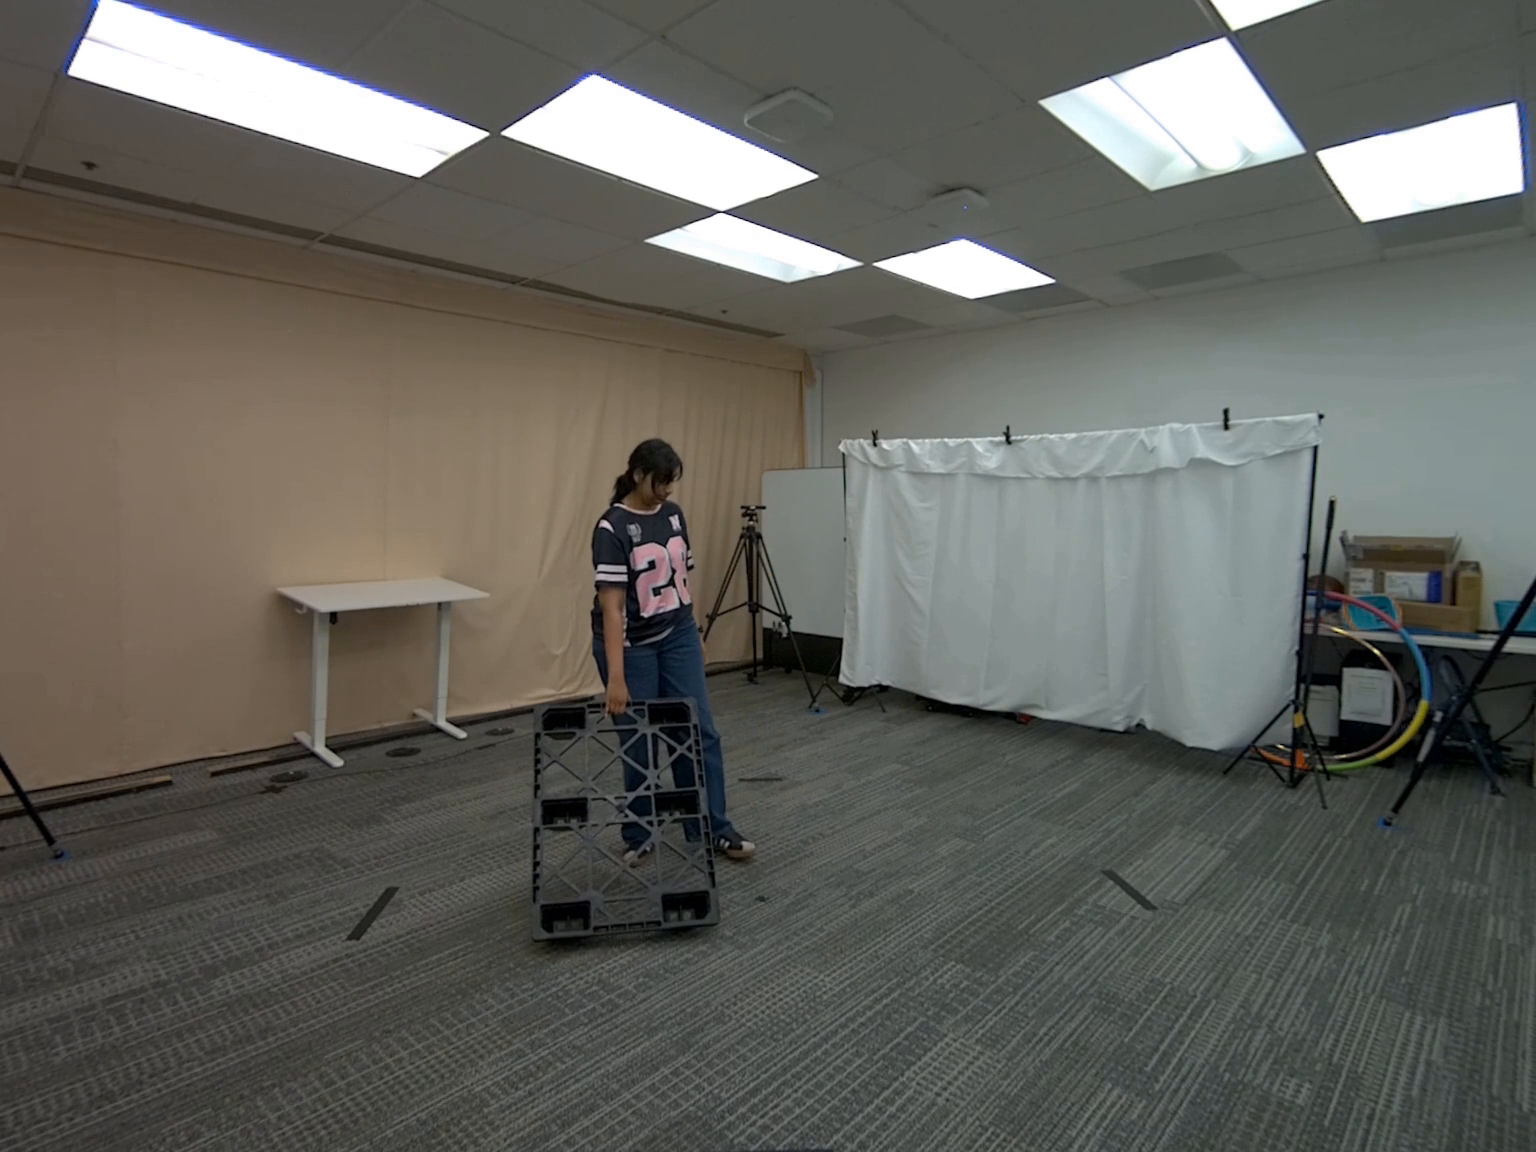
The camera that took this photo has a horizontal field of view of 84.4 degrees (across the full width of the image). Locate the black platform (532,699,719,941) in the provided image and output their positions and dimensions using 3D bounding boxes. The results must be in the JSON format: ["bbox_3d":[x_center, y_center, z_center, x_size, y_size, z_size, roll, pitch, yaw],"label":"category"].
[{"bbox_3d":[-0.509,0.824,2.934,0.599,0.823,0.142,-2,-35,-10],"label":"black platform"}]
